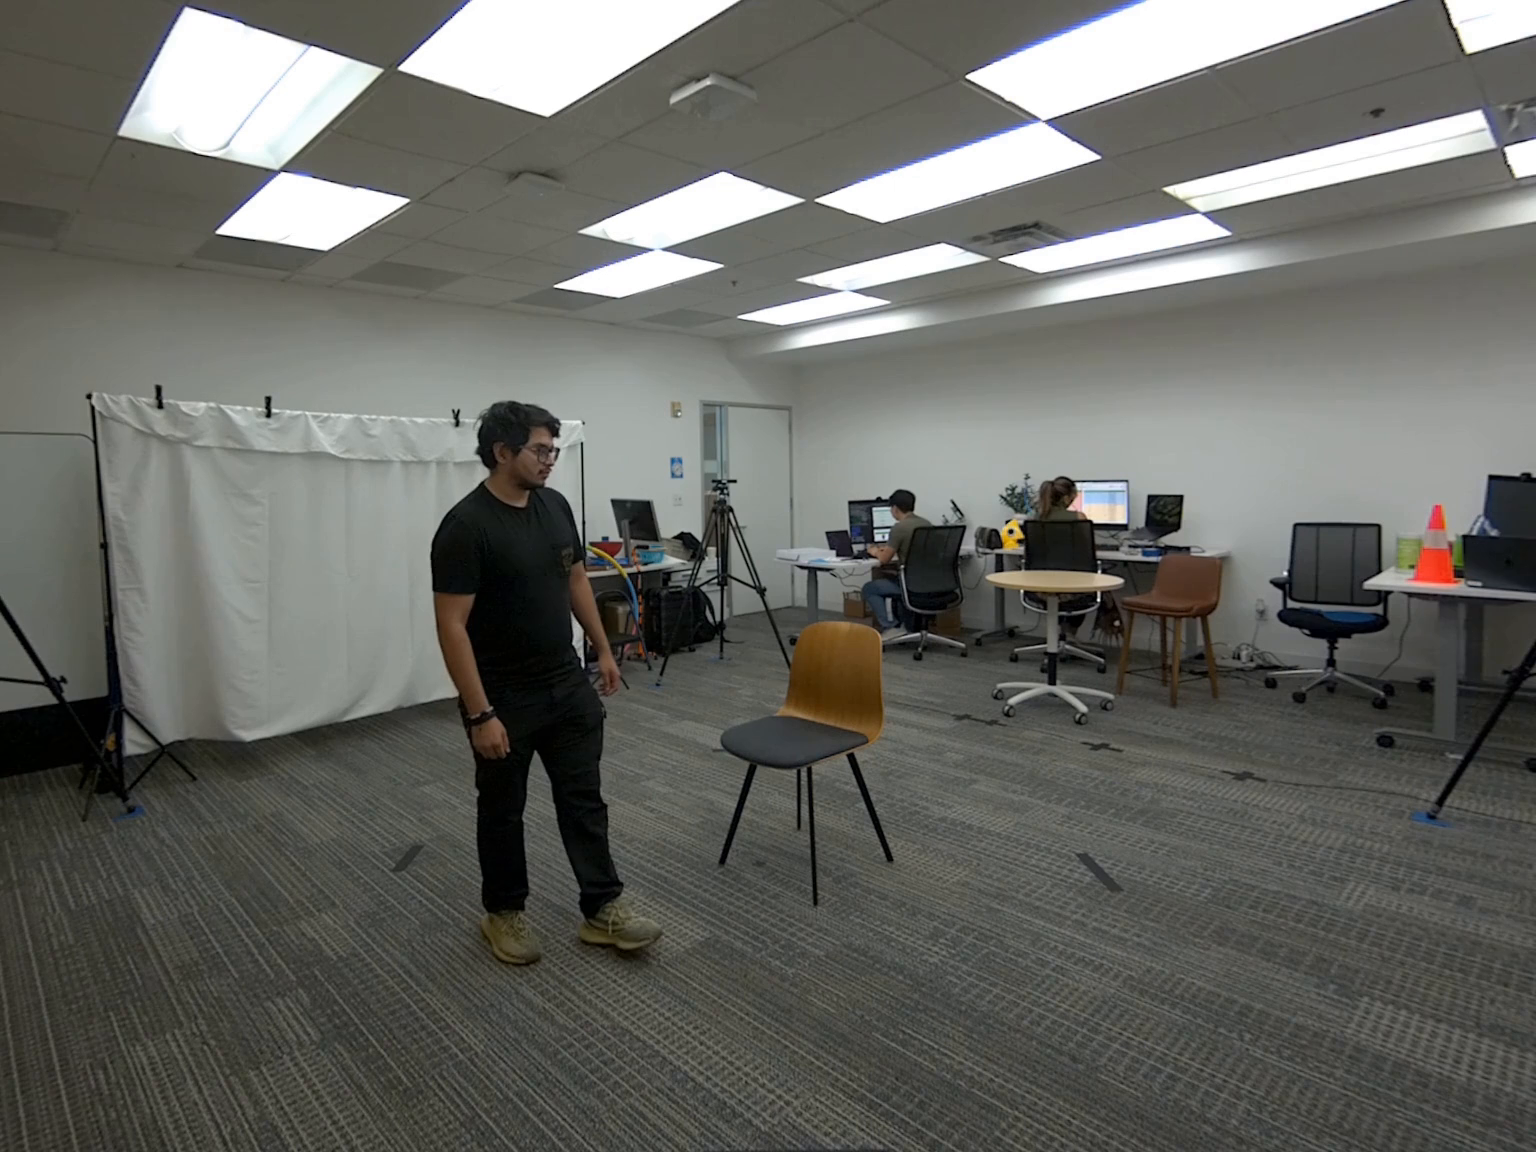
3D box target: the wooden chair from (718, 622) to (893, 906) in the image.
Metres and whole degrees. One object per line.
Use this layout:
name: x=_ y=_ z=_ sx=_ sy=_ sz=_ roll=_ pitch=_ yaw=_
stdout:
wooden chair: x=0.128 y=0.620 z=3.070 sx=0.493 sy=0.877 sz=0.508 roll=3 pitch=2 yaw=44
